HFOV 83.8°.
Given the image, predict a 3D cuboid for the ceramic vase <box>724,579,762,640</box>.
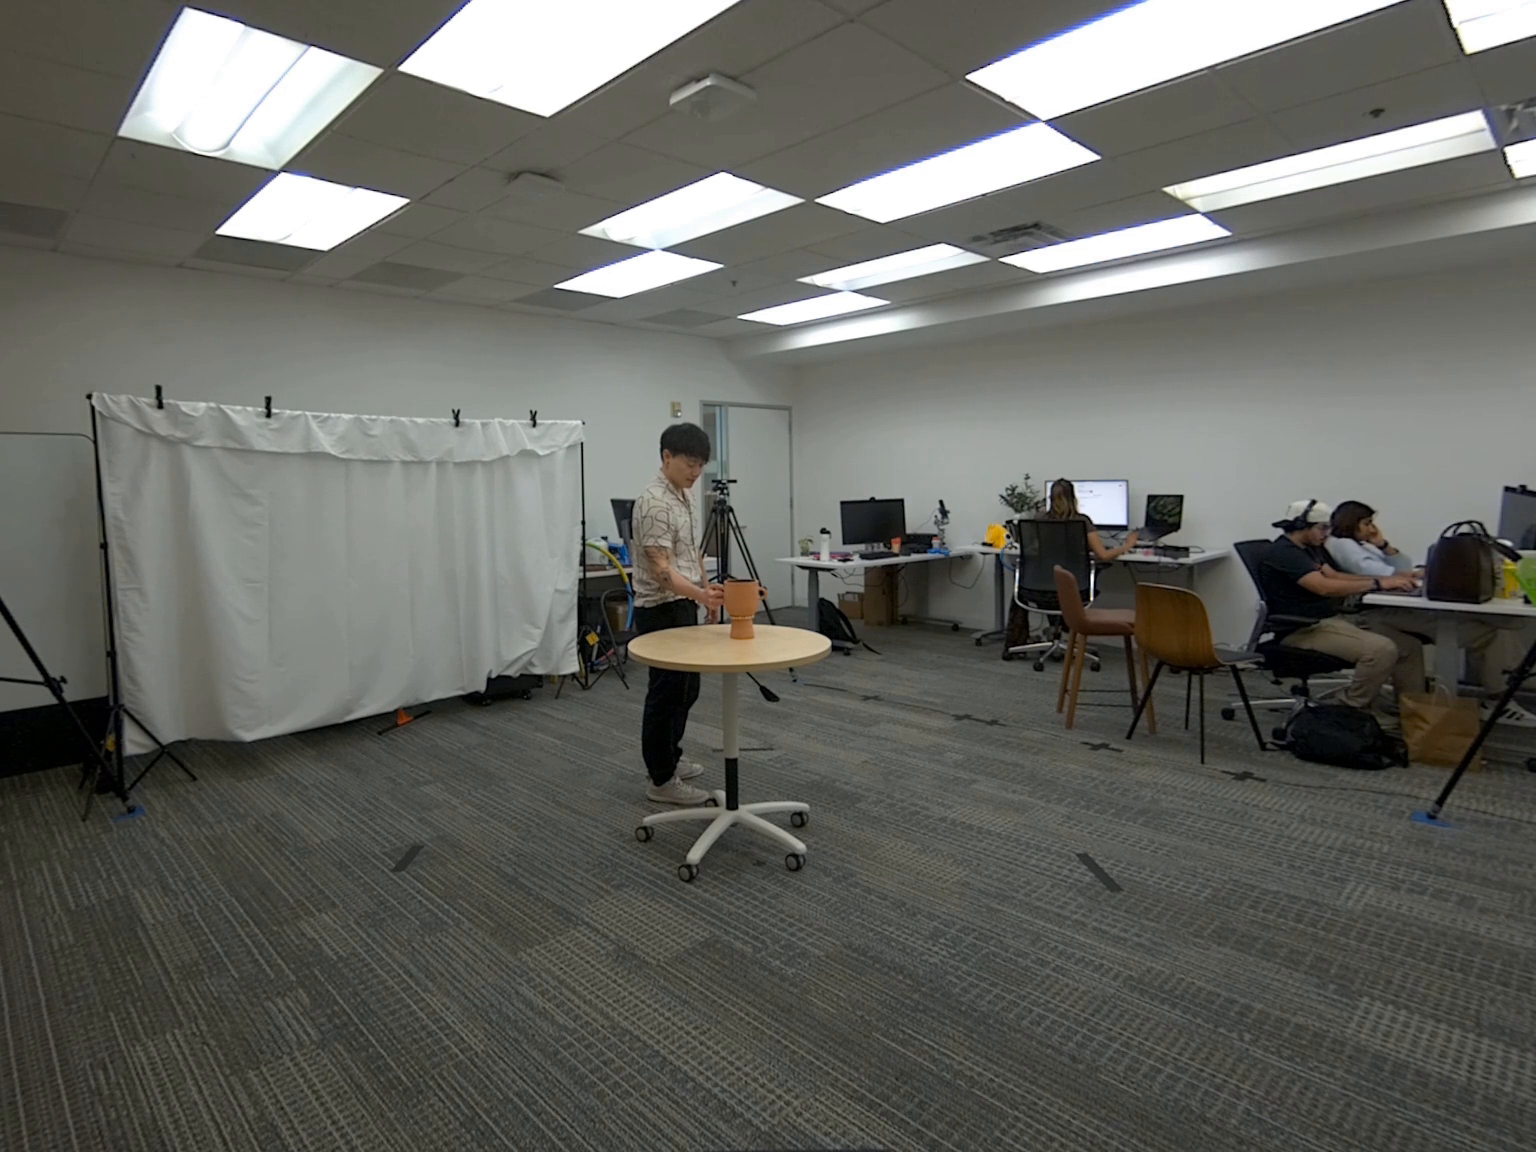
[{"bbox_3d":[-0.098,0.130,3.325,0.131,0.219,0.163,-5,5,-44],"label":"ceramic vase"}]
